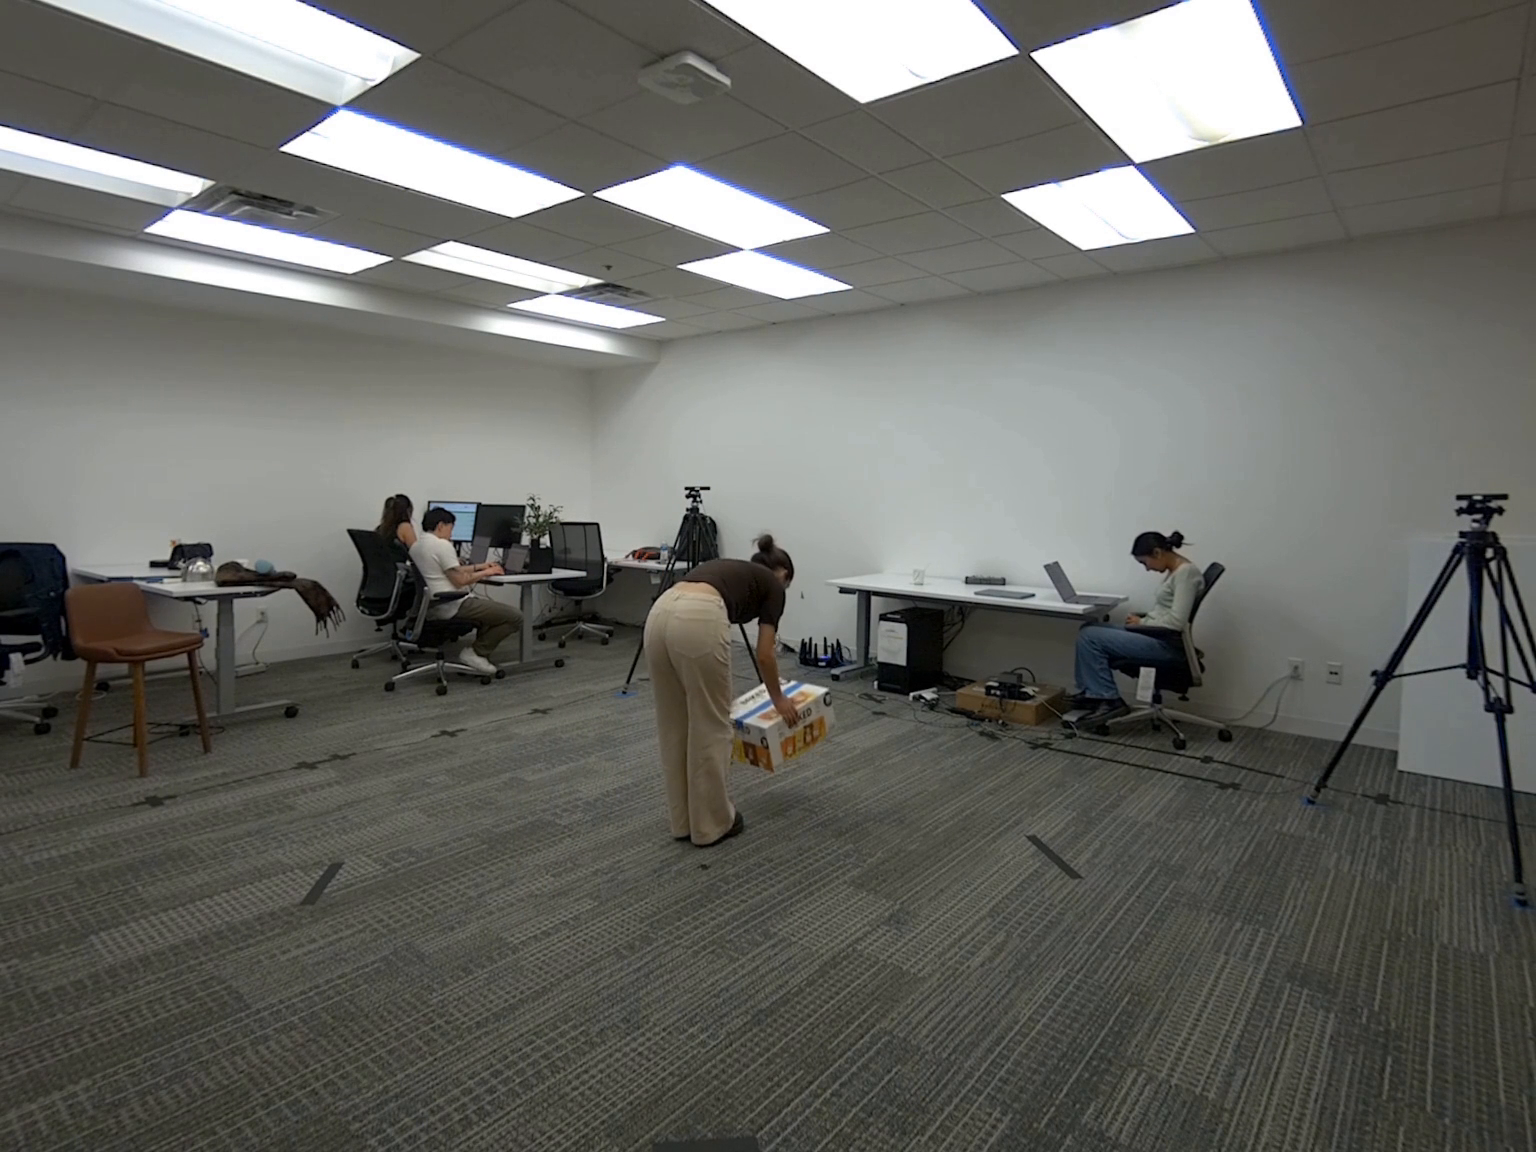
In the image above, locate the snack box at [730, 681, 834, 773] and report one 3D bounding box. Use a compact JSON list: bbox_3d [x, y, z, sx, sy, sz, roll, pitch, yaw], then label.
[{"bbox_3d":[0.022,0.627,3.730,0.398,0.202,0.352,-24,19,-39],"label":"snack box"}]
